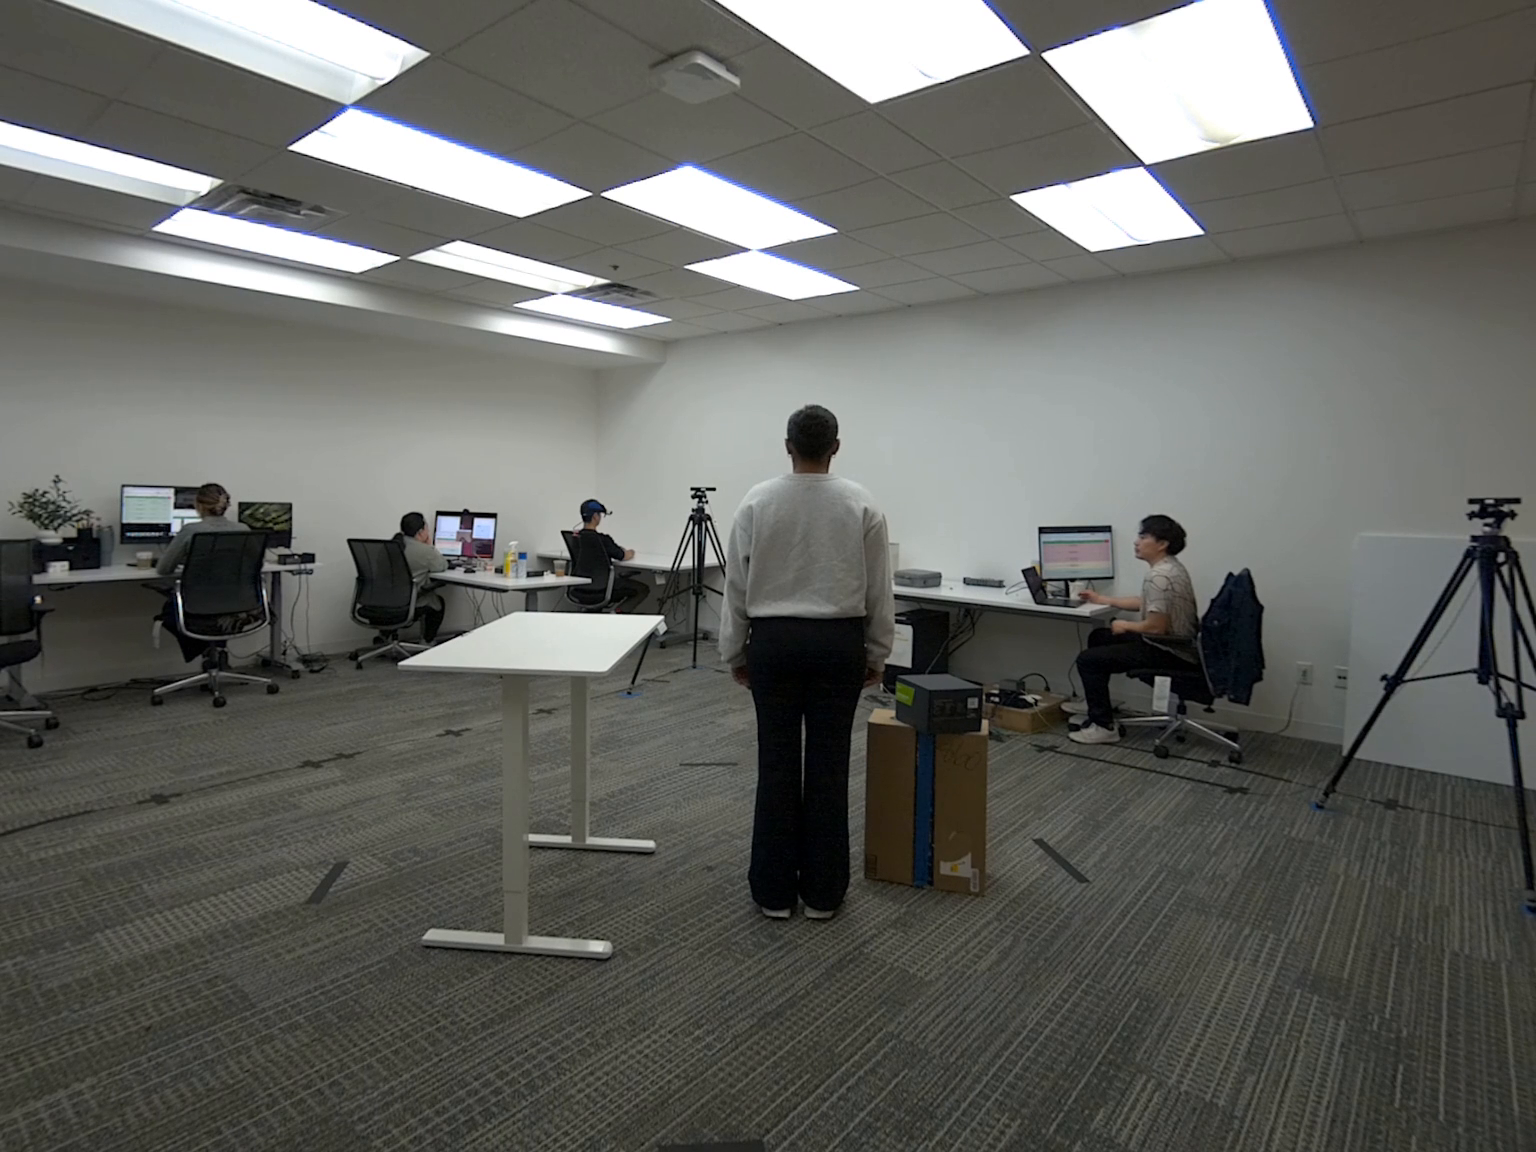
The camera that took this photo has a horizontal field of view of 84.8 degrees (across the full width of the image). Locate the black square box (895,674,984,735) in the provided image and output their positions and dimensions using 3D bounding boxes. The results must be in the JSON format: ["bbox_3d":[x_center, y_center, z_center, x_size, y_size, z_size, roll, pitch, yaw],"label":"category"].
[{"bbox_3d":[0.597,0.450,3.022,0.213,0.155,0.233,0,5,-20],"label":"black square box"}]
